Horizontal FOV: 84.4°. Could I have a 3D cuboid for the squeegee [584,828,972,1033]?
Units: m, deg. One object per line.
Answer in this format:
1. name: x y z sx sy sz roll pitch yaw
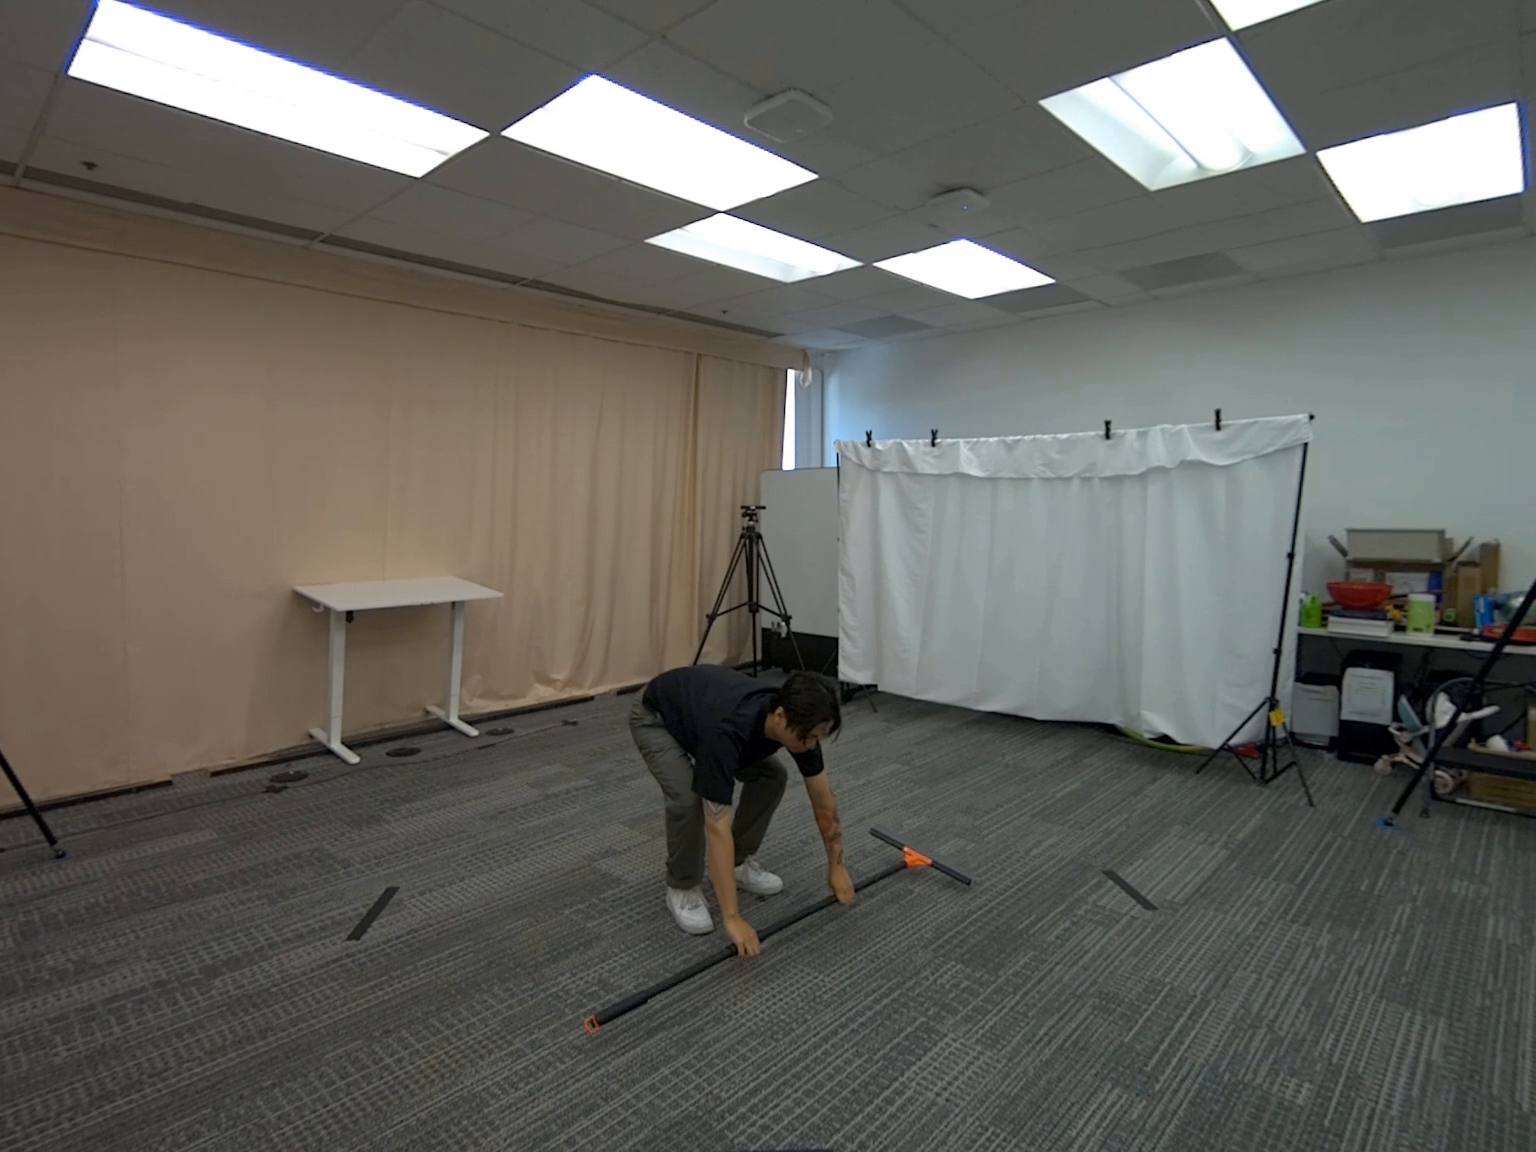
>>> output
1. squeegee: 0.074 1.080 2.657 0.453 0.052 1.491 16 16 42
